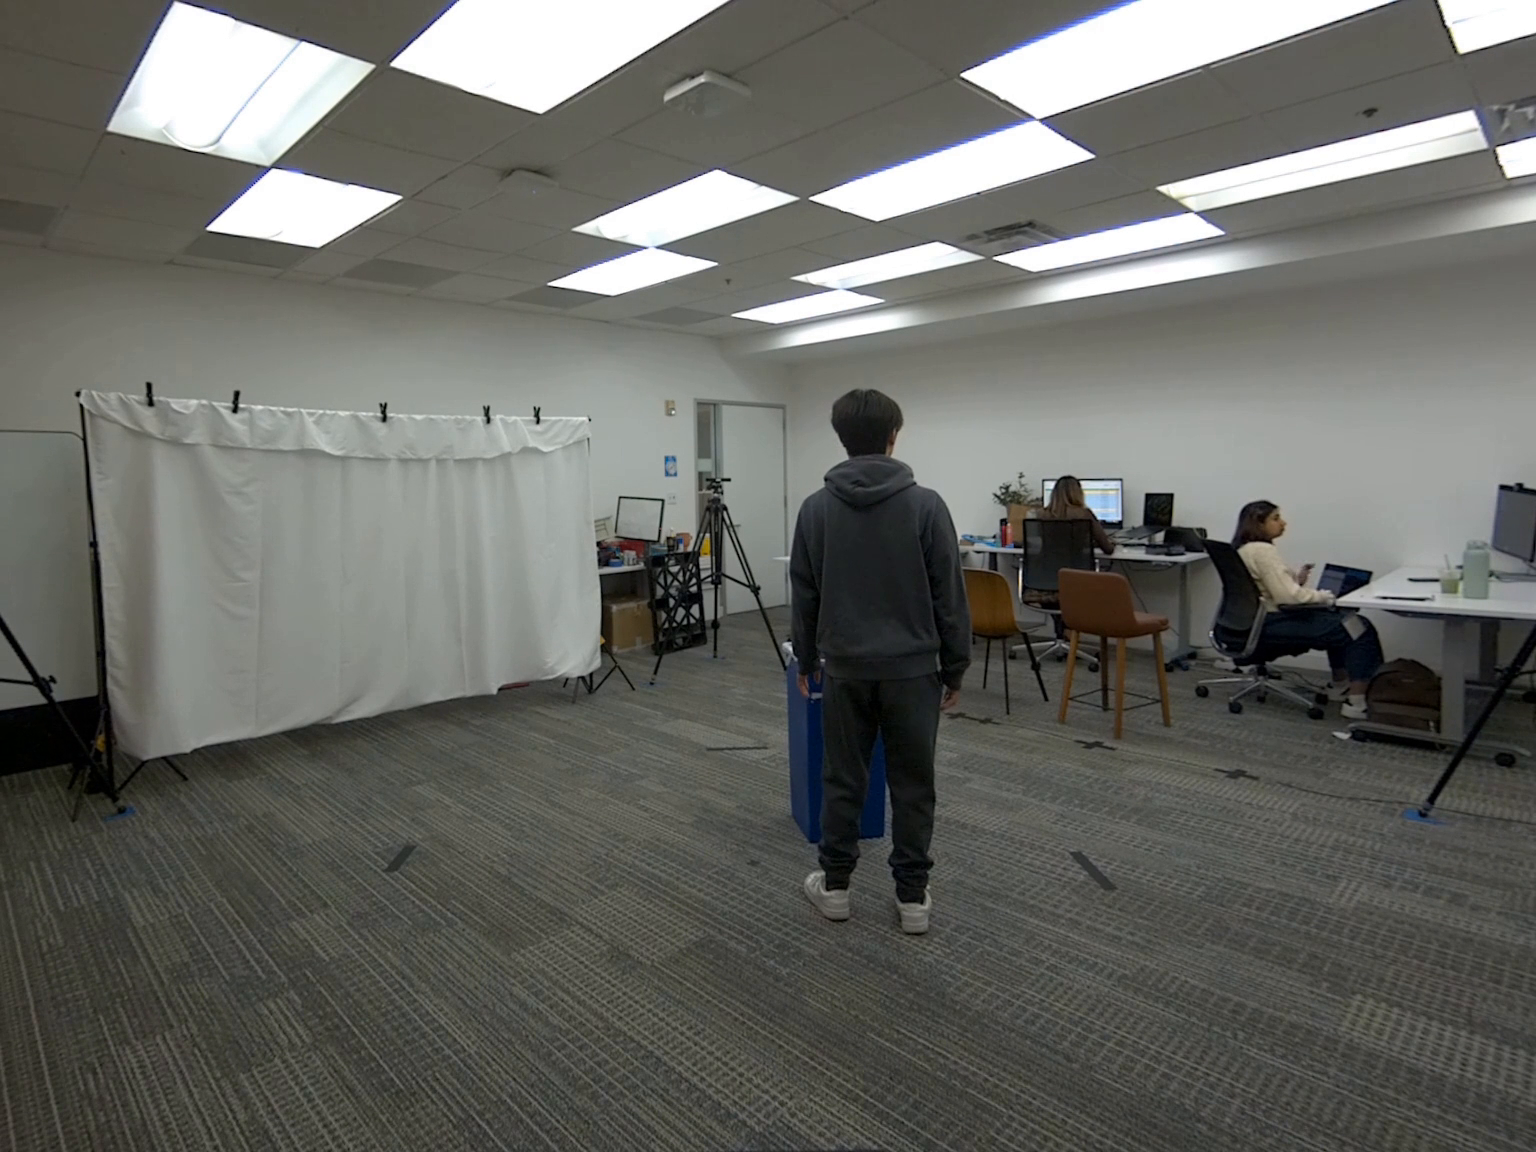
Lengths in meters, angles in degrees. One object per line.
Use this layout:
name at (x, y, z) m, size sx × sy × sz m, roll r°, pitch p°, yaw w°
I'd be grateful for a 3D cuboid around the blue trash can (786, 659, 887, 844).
blue trash can at (0.282, 0.644, 3.409) m, size 0.370 × 0.711 × 0.383 m, roll -2°, pitch 4°, yaw -11°
